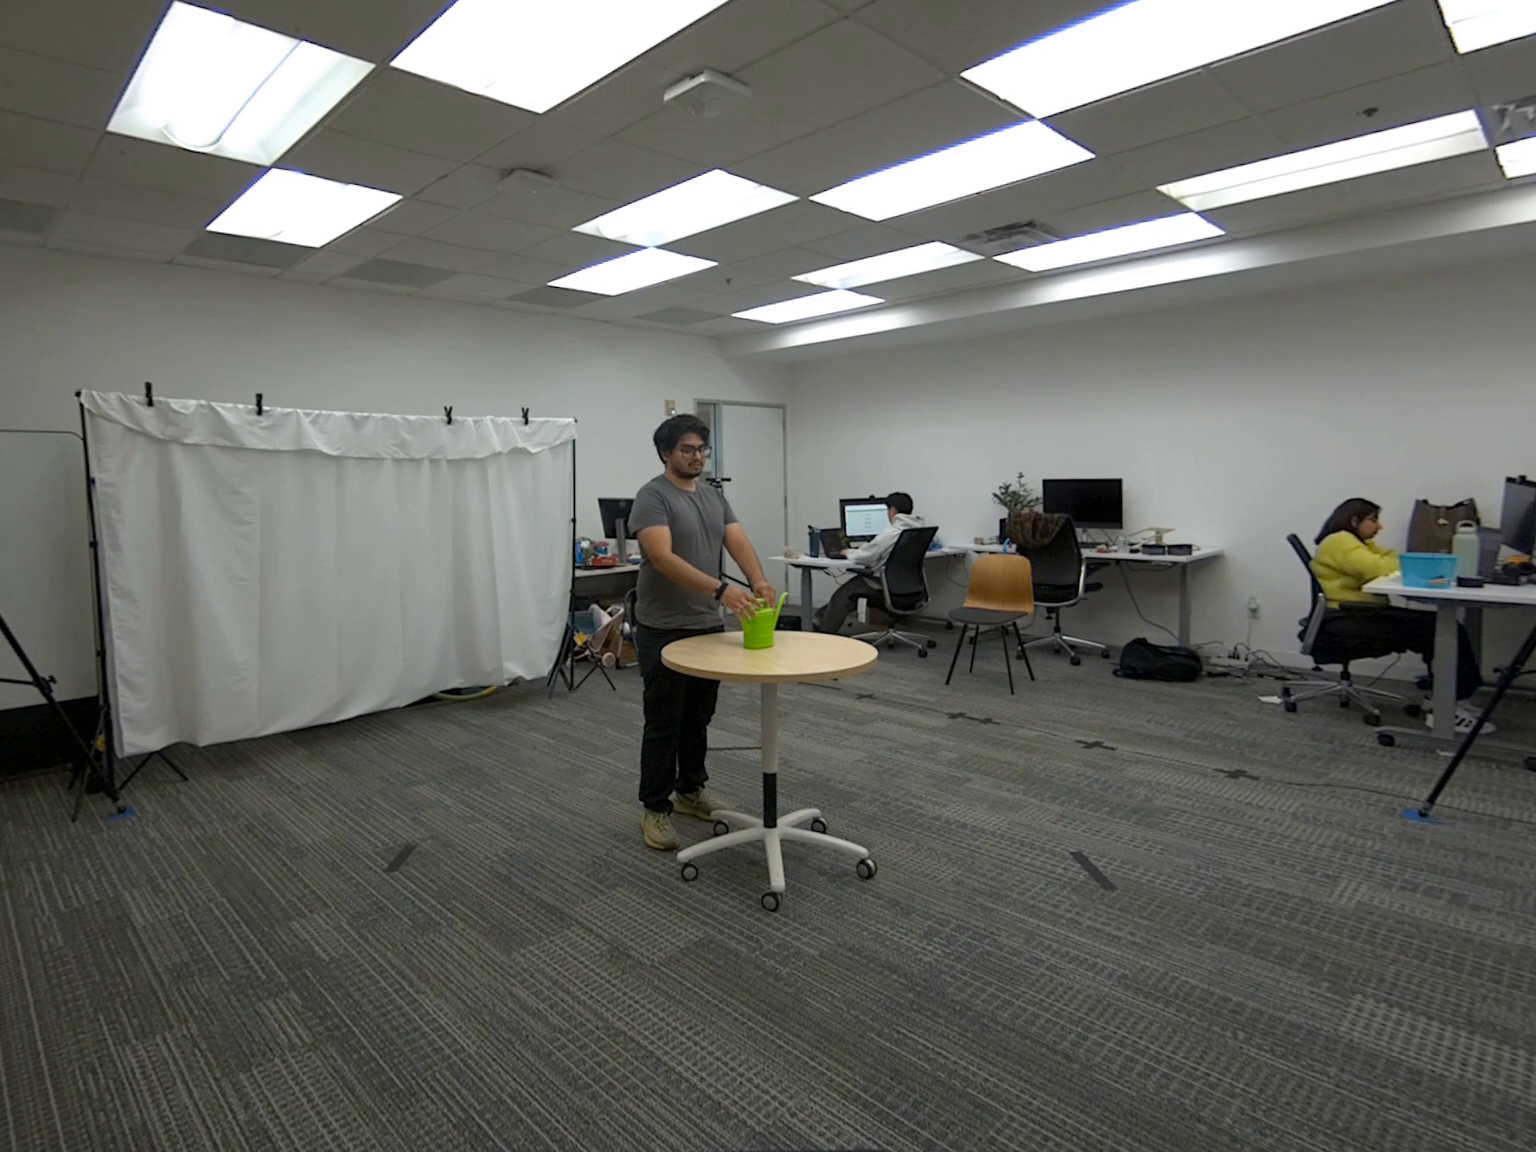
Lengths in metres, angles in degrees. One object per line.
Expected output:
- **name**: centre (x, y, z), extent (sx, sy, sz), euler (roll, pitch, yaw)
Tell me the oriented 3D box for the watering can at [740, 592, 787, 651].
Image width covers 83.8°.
- **watering can**: centre (-0.002, 0.167, 3.139), extent (0.271, 0.176, 0.101), euler (-9, 9, -41)
